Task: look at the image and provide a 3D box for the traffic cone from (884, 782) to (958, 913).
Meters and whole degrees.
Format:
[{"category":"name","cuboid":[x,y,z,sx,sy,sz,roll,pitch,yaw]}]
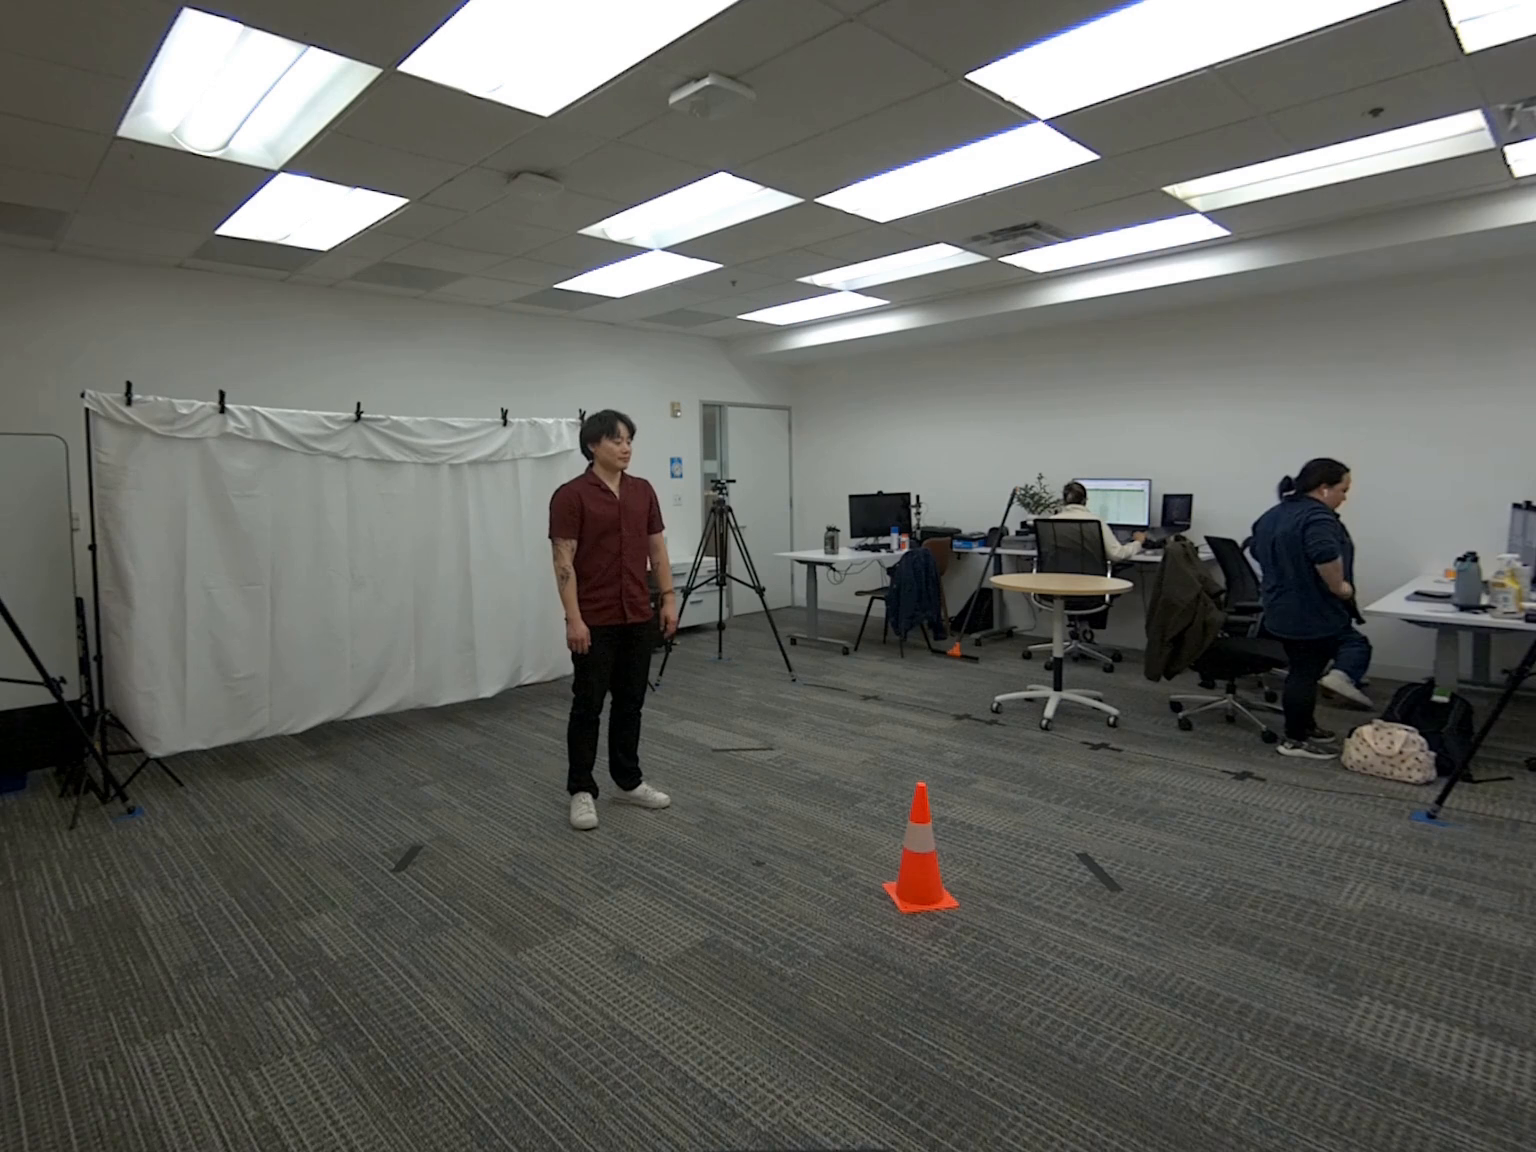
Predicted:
[{"category":"traffic cone","cuboid":[0.517,0.882,2.842,0.203,0.382,0.206,-1,4,-8]}]
